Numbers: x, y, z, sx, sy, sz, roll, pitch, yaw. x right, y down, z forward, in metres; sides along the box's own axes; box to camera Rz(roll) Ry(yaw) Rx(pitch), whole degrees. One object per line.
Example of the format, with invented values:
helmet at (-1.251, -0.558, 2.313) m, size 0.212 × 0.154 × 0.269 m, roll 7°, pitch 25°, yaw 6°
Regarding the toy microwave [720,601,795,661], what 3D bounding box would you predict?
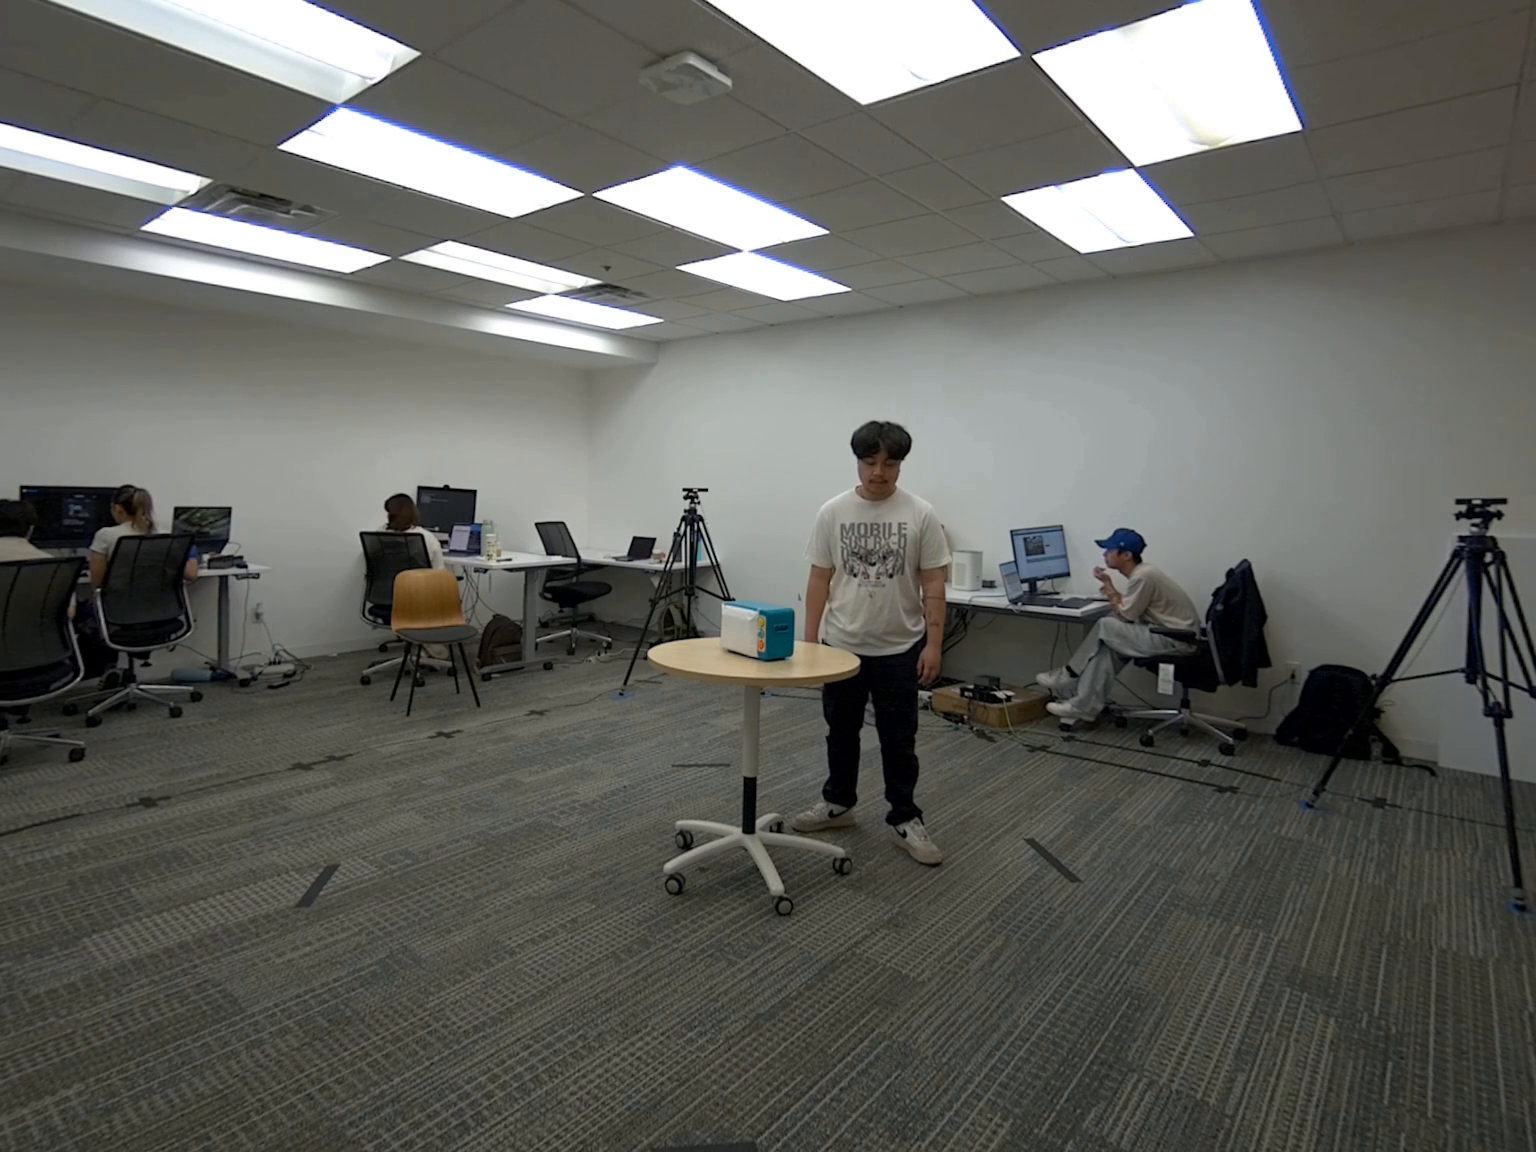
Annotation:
toy microwave at (-0.056, 0.191, 3.081) m, size 0.148 × 0.183 × 0.296 m, roll -2°, pitch 6°, yaw -38°
